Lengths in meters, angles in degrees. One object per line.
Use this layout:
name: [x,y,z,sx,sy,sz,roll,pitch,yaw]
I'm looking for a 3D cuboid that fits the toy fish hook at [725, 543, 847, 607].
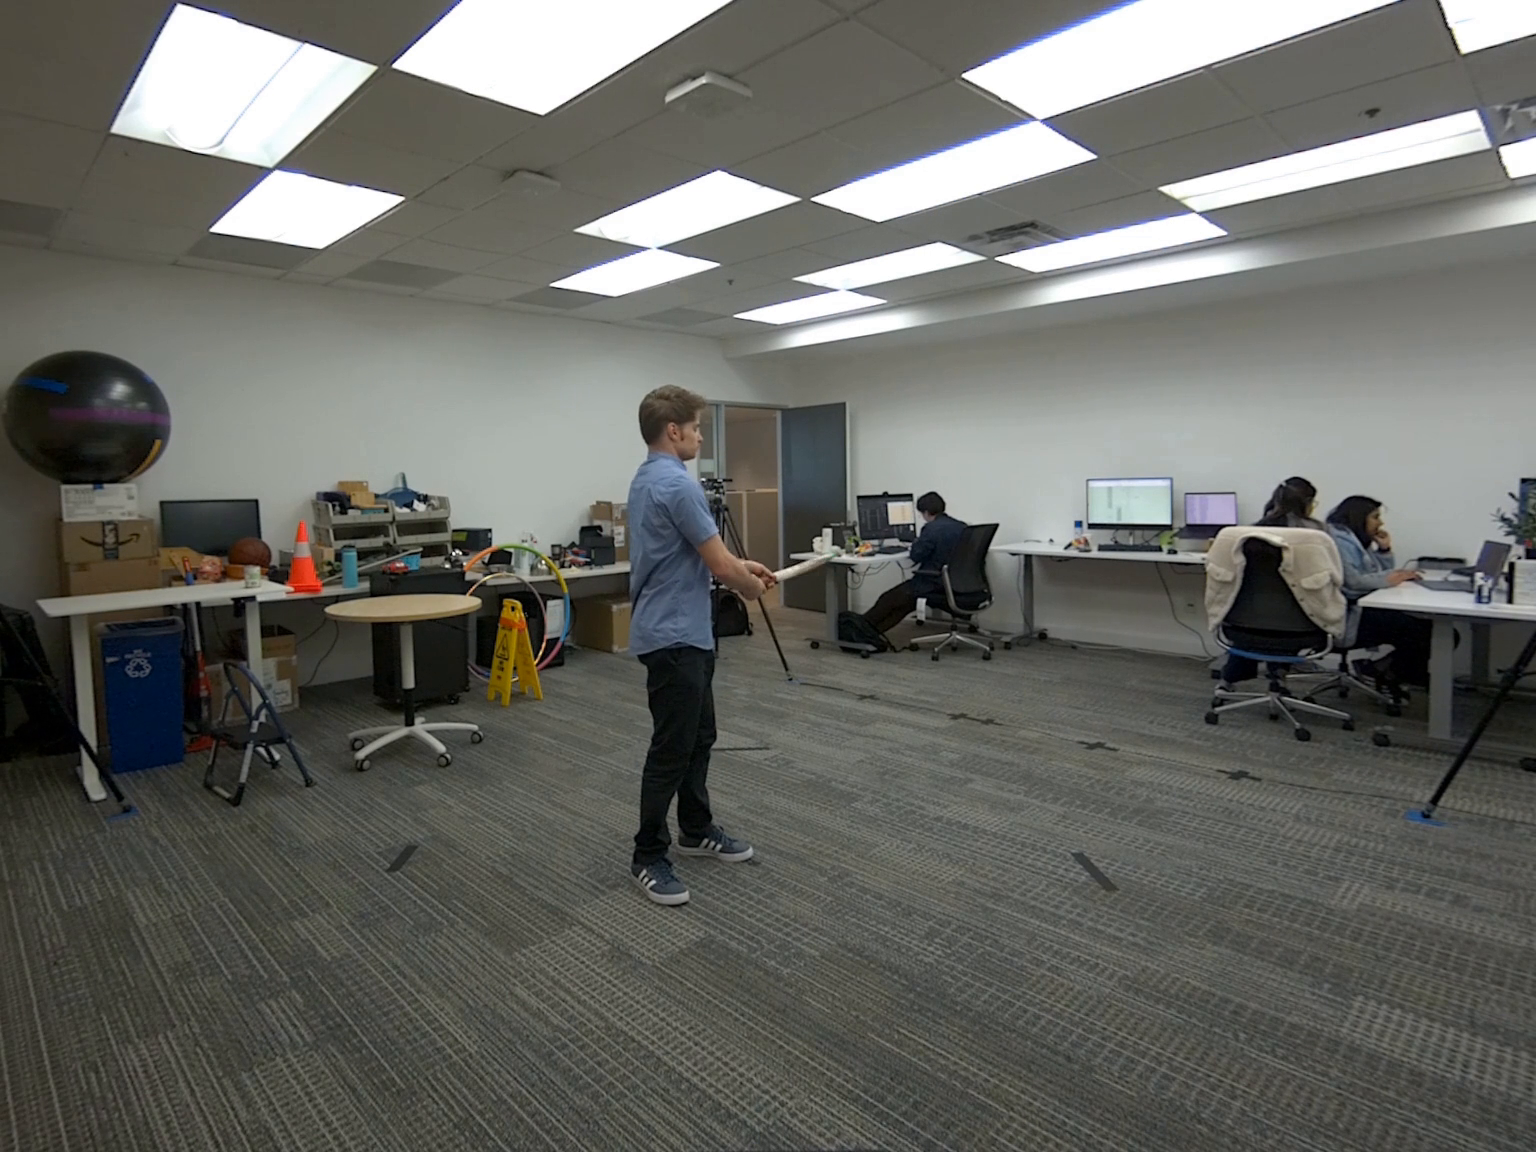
toy fish hook: [0.075,-0.012,3.251,0.227,0.049,0.497,-31,-7,38]
